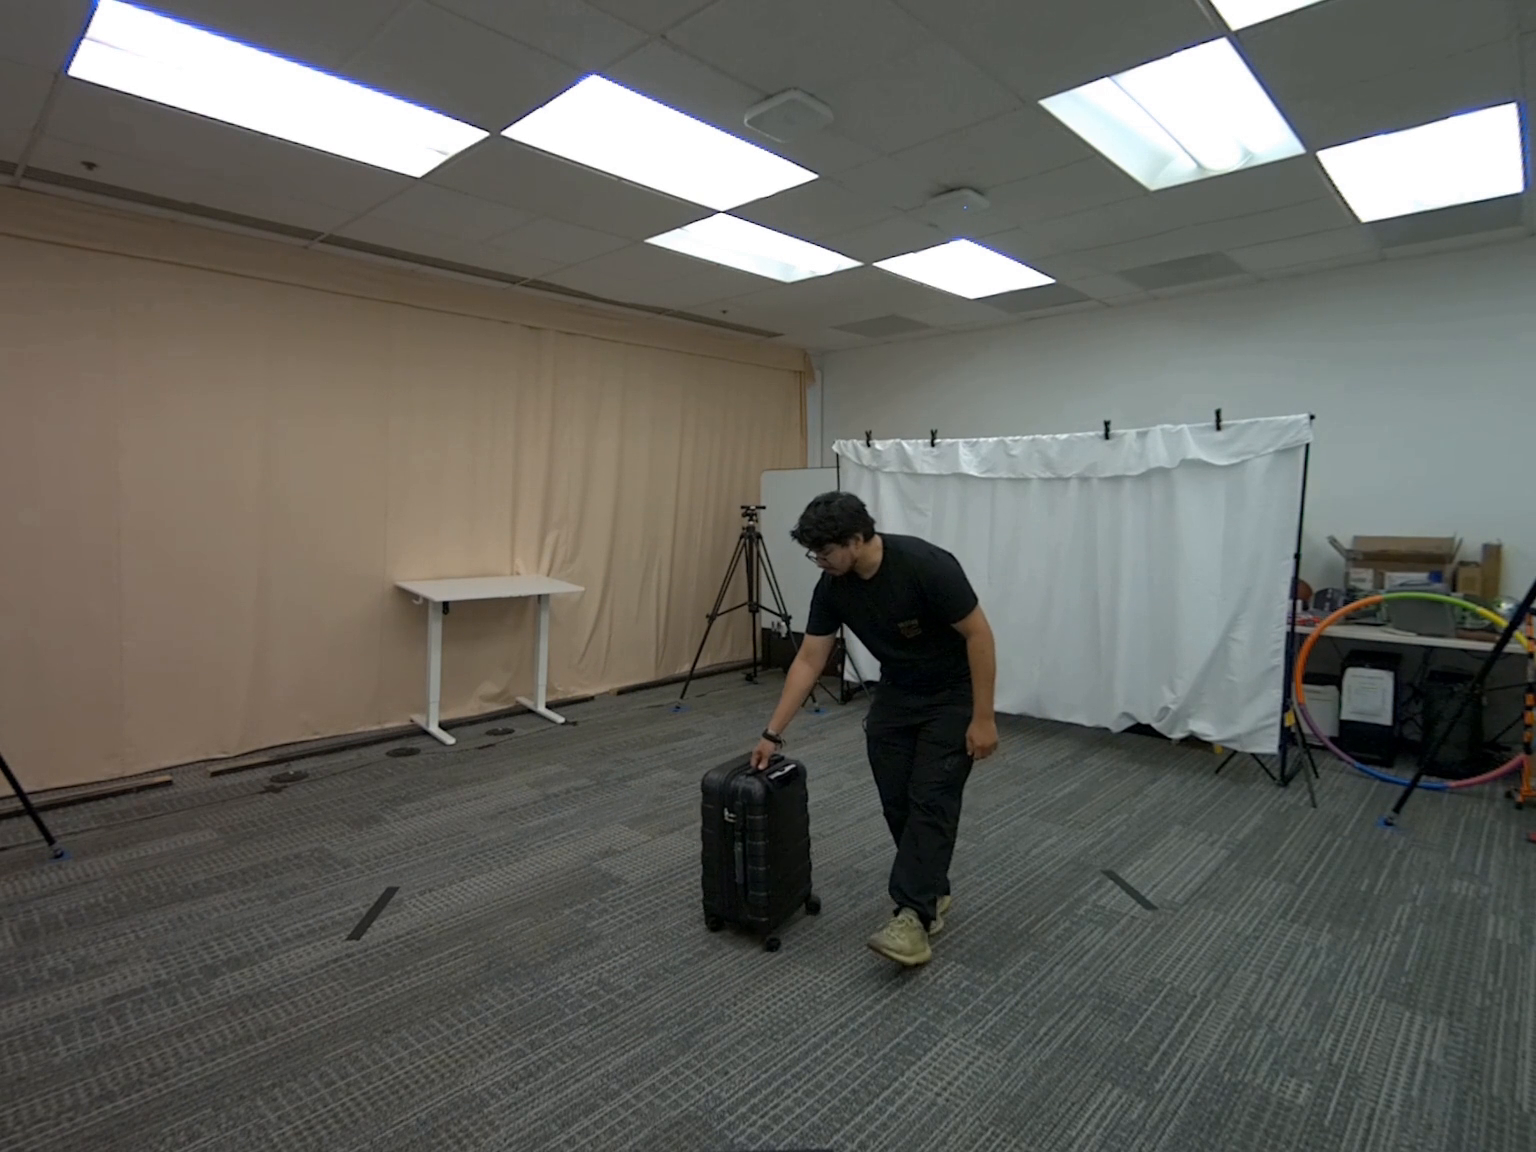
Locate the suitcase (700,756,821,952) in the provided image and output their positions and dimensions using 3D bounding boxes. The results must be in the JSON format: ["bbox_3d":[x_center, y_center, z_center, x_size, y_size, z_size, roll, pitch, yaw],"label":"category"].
[{"bbox_3d":[-0.031,0.888,2.812,0.256,0.548,0.365,-1,3,33],"label":"suitcase"}]
